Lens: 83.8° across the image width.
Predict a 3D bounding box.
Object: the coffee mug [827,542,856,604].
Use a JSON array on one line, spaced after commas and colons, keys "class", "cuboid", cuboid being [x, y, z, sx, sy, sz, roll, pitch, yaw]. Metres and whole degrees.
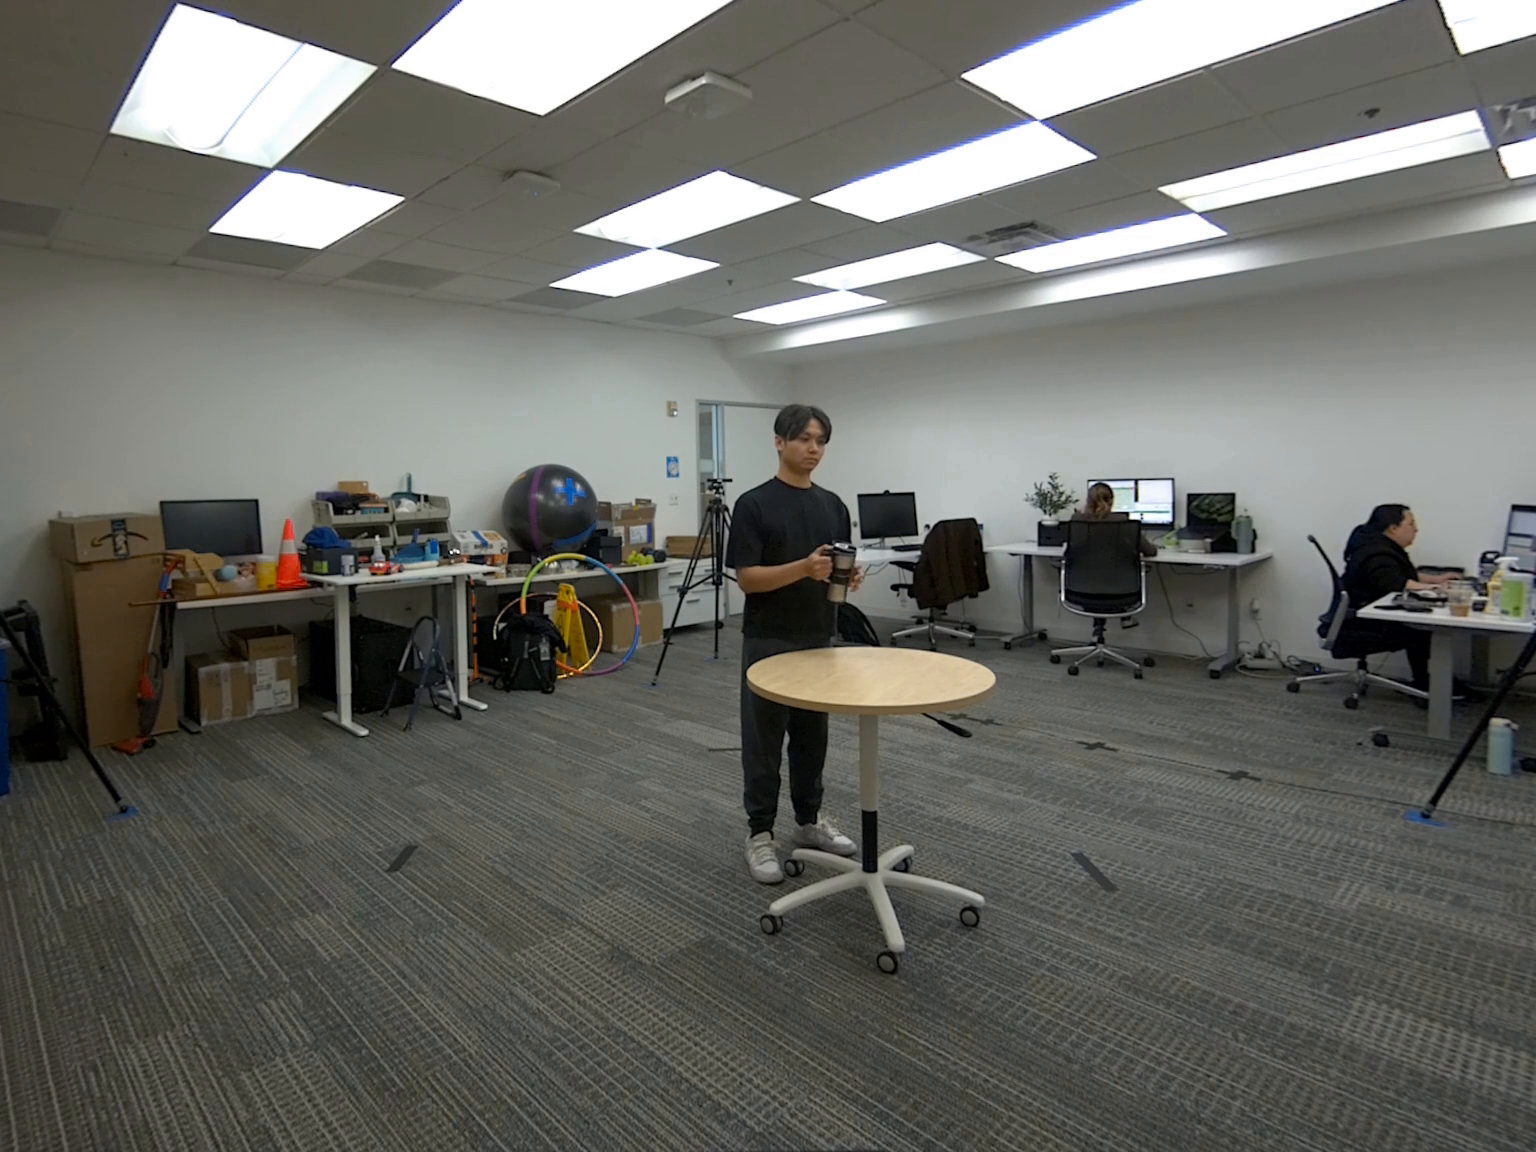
[{"class": "coffee mug", "cuboid": [0.241, -0.002, 2.893, 0.091, 0.200, 0.119, 17, 18, 32]}]
